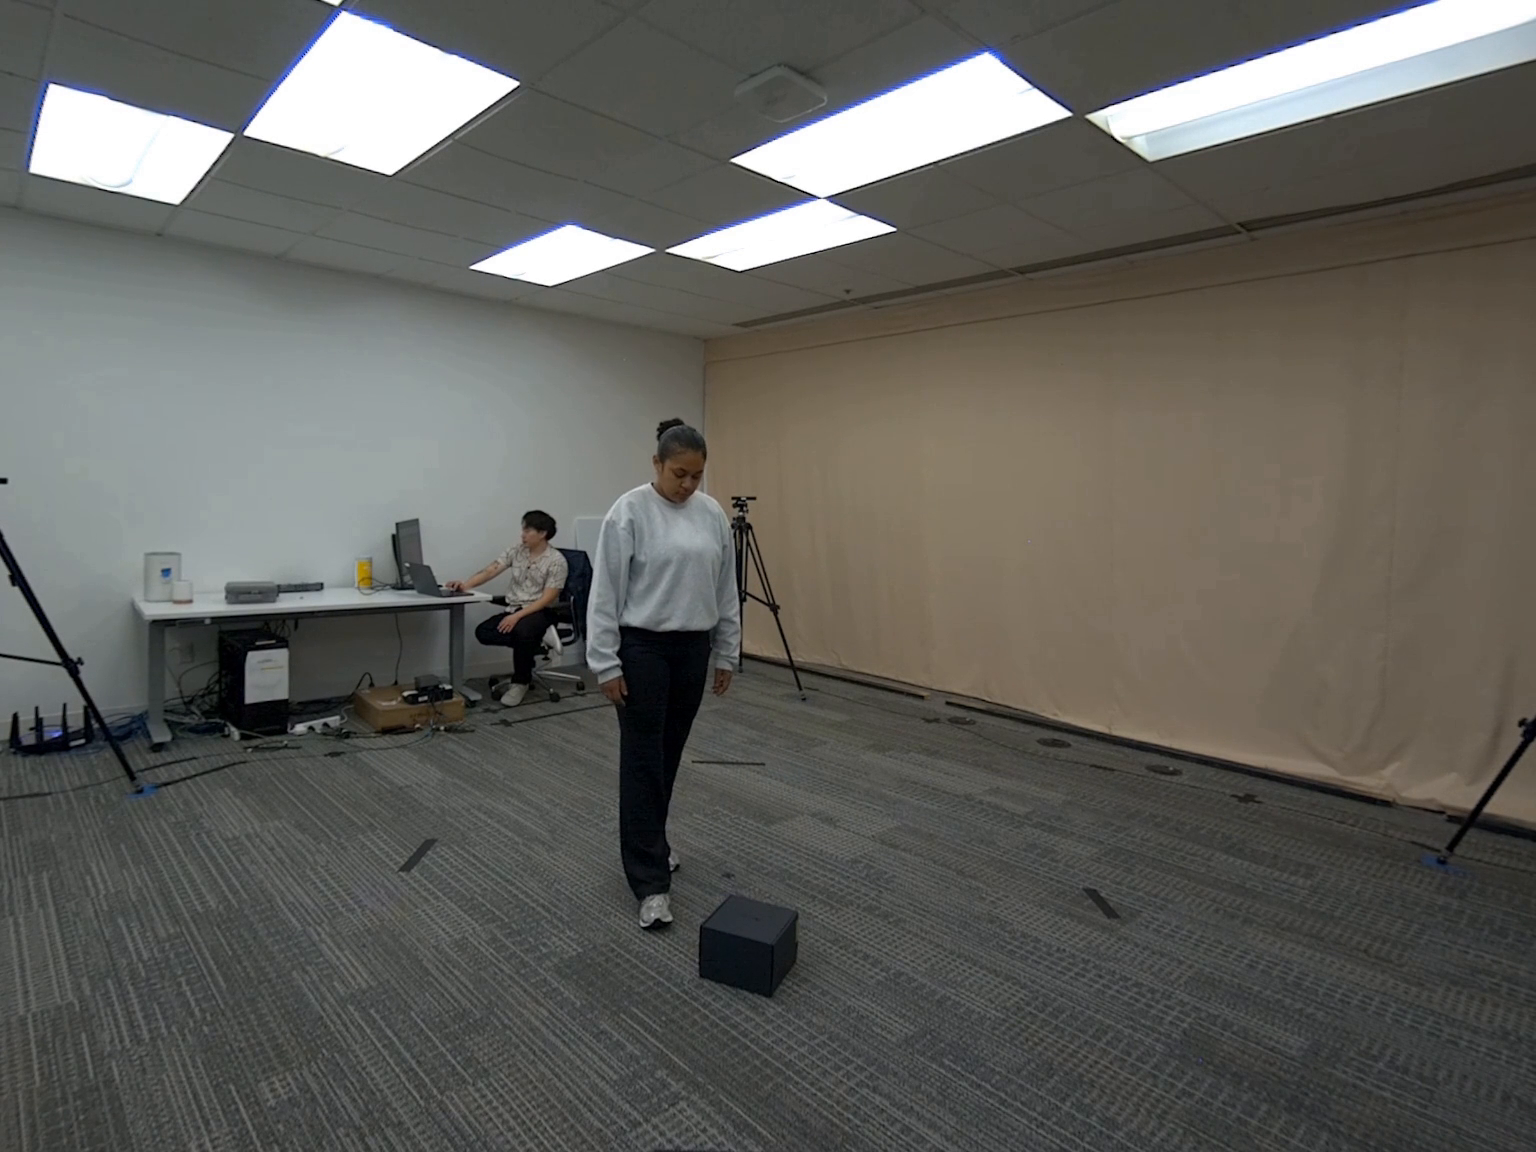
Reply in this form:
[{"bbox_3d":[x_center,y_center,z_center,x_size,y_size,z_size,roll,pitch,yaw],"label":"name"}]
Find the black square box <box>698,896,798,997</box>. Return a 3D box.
[{"bbox_3d":[-0.059,1.080,2.482,0.232,0.155,0.213,3,5,23],"label":"black square box"}]
